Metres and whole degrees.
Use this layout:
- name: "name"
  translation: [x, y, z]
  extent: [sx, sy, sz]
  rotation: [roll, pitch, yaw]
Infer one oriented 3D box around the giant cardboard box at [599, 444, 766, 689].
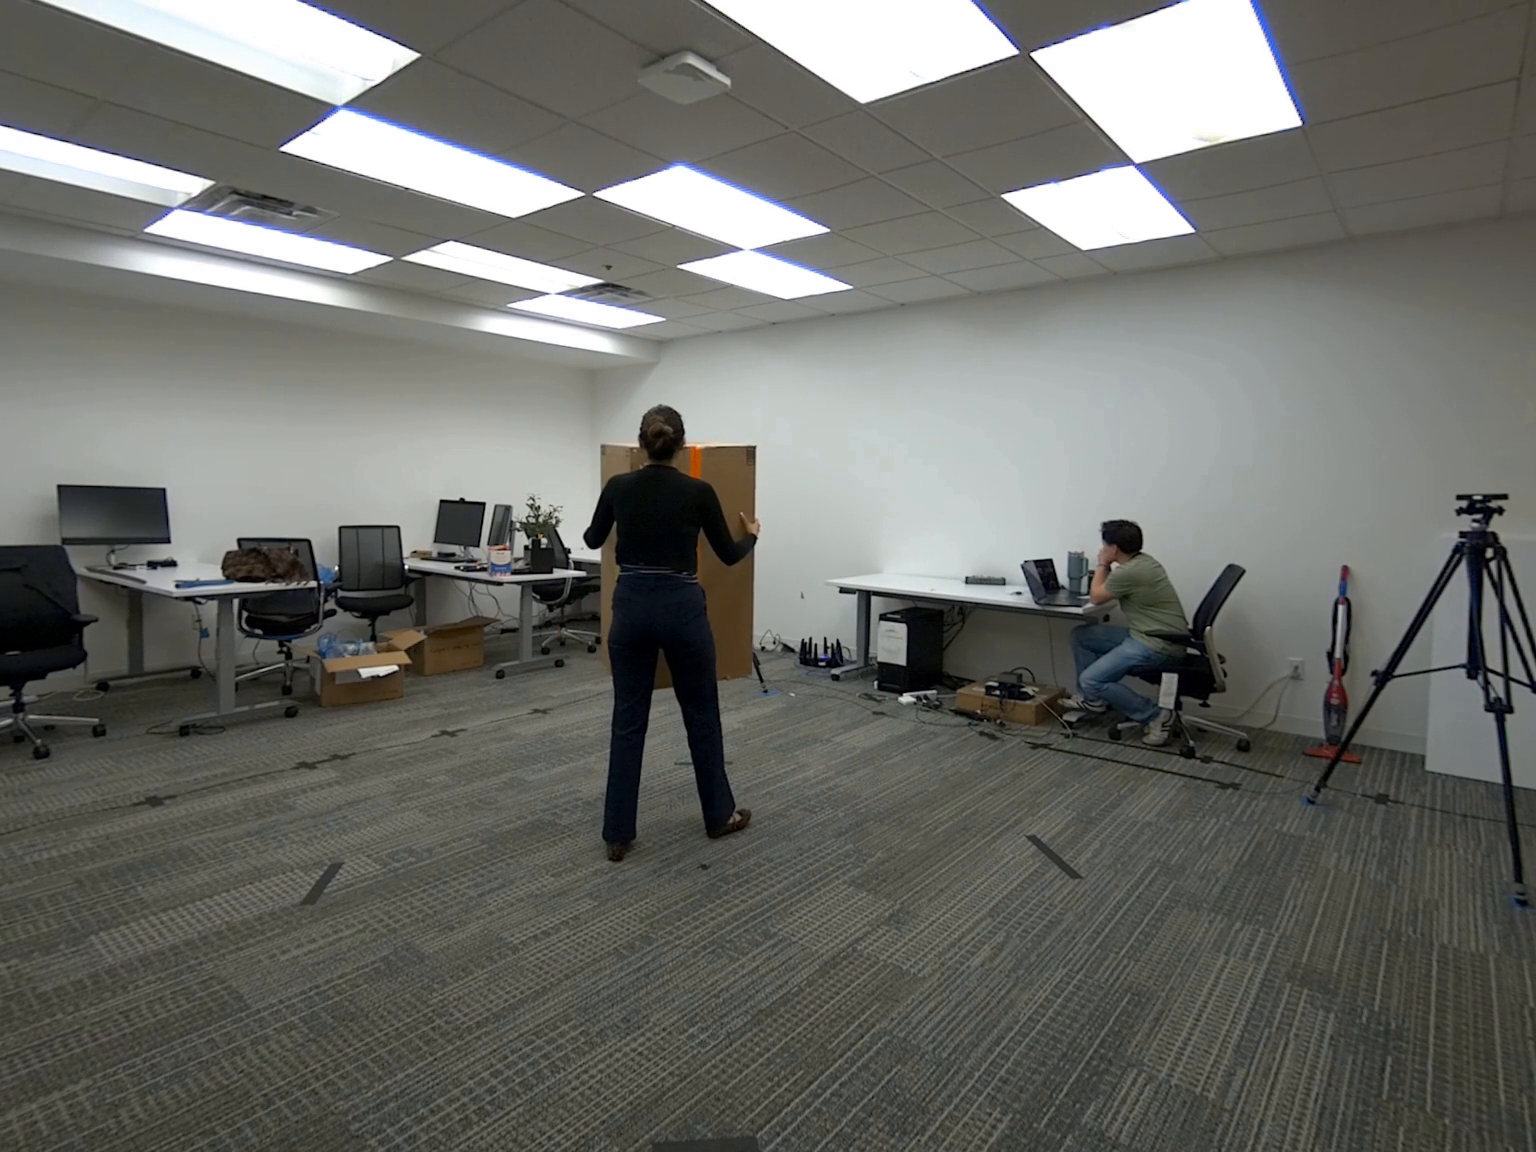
- name: "giant cardboard box"
  translation: [-0.408, -0.074, 3.779]
  extent: [0.564, 1.018, 0.439]
  rotation: [-3, 9, -25]
